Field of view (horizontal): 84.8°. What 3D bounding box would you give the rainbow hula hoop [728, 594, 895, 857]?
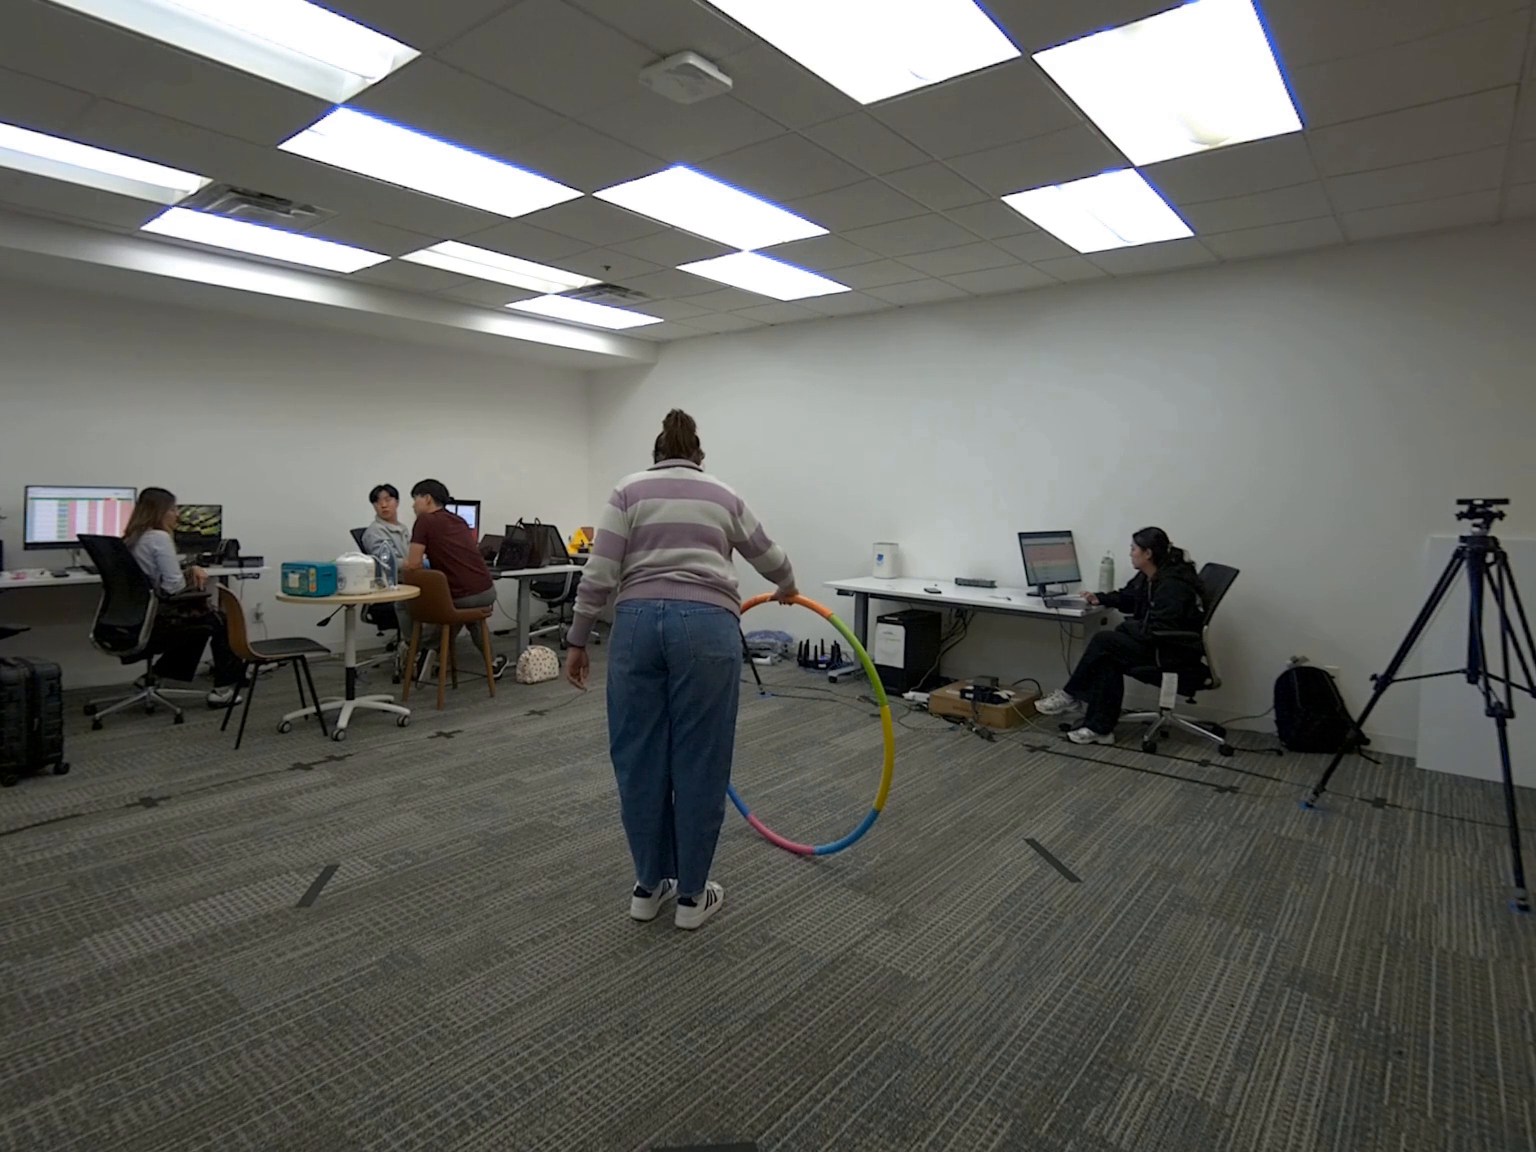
[{"bbox_3d":[0.069,0.558,3.274,0.034,0.974,1.012,-4,6,-44],"label":"rainbow hula hoop"}]
